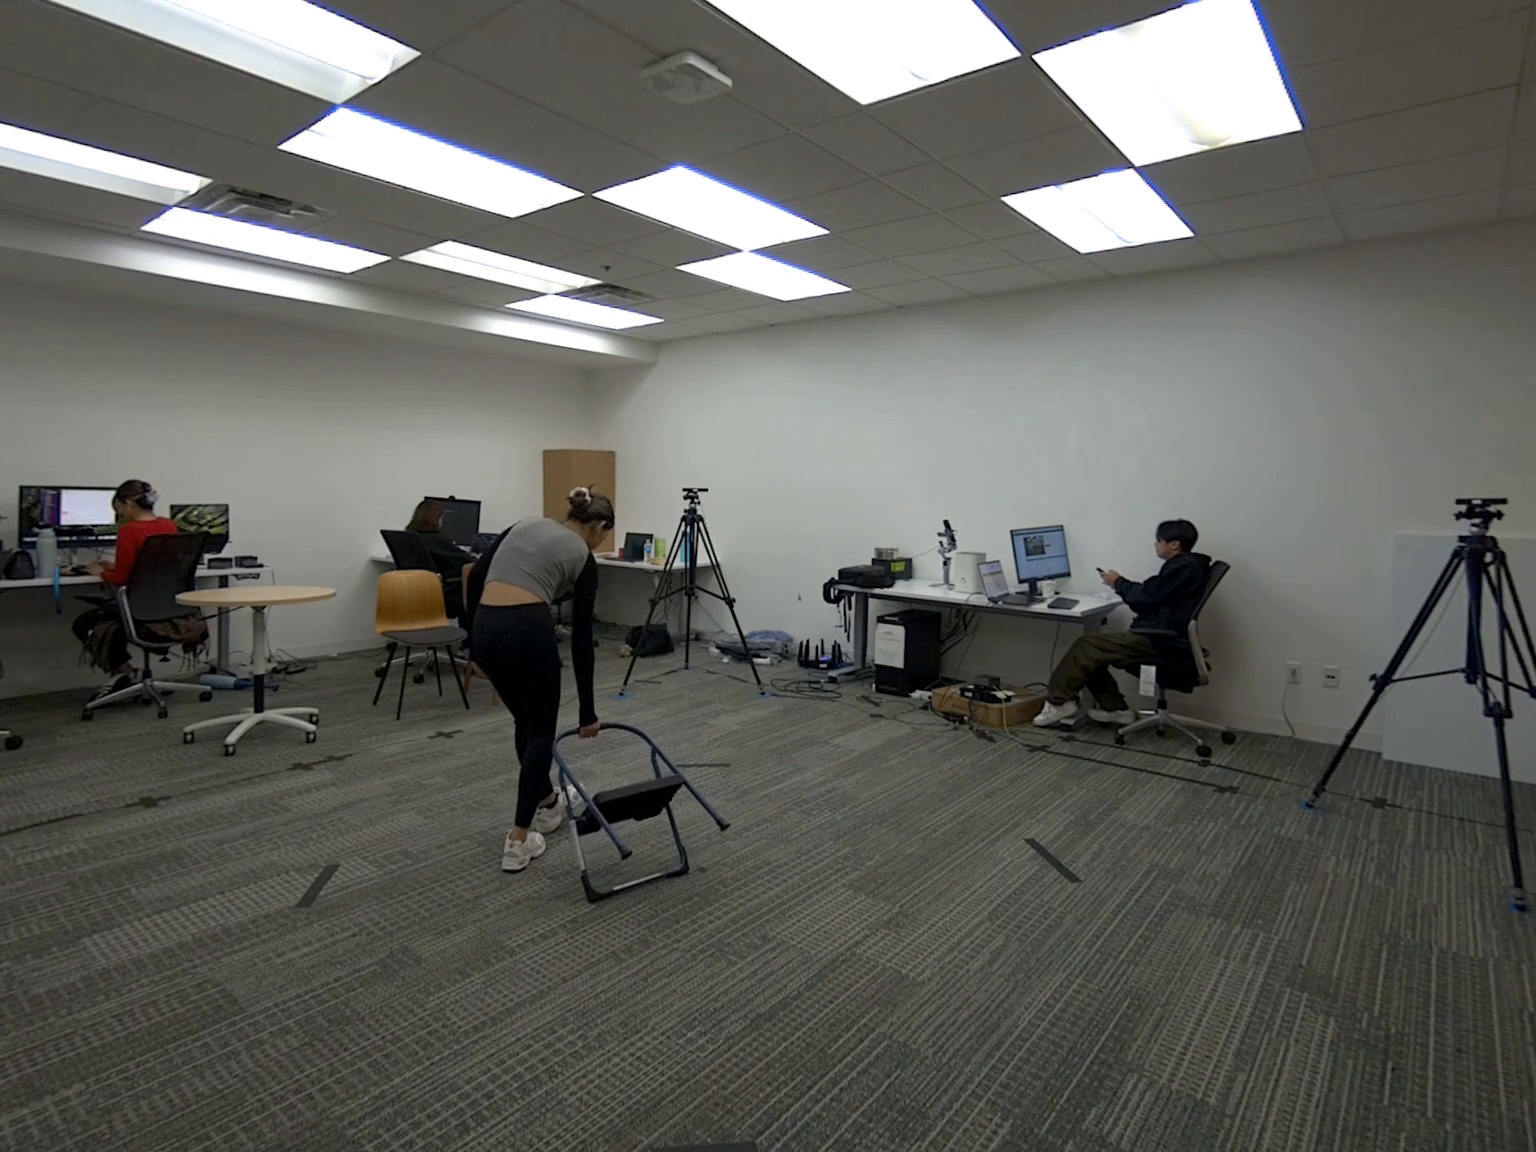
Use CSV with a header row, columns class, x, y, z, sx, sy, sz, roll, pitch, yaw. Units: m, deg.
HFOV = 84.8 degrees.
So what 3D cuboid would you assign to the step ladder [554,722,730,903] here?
class,x,y,z,sx,sy,sz,roll,pitch,yaw
step ladder,-0.517,0.748,3.027,0.417,0.347,0.629,-2,47,-40
